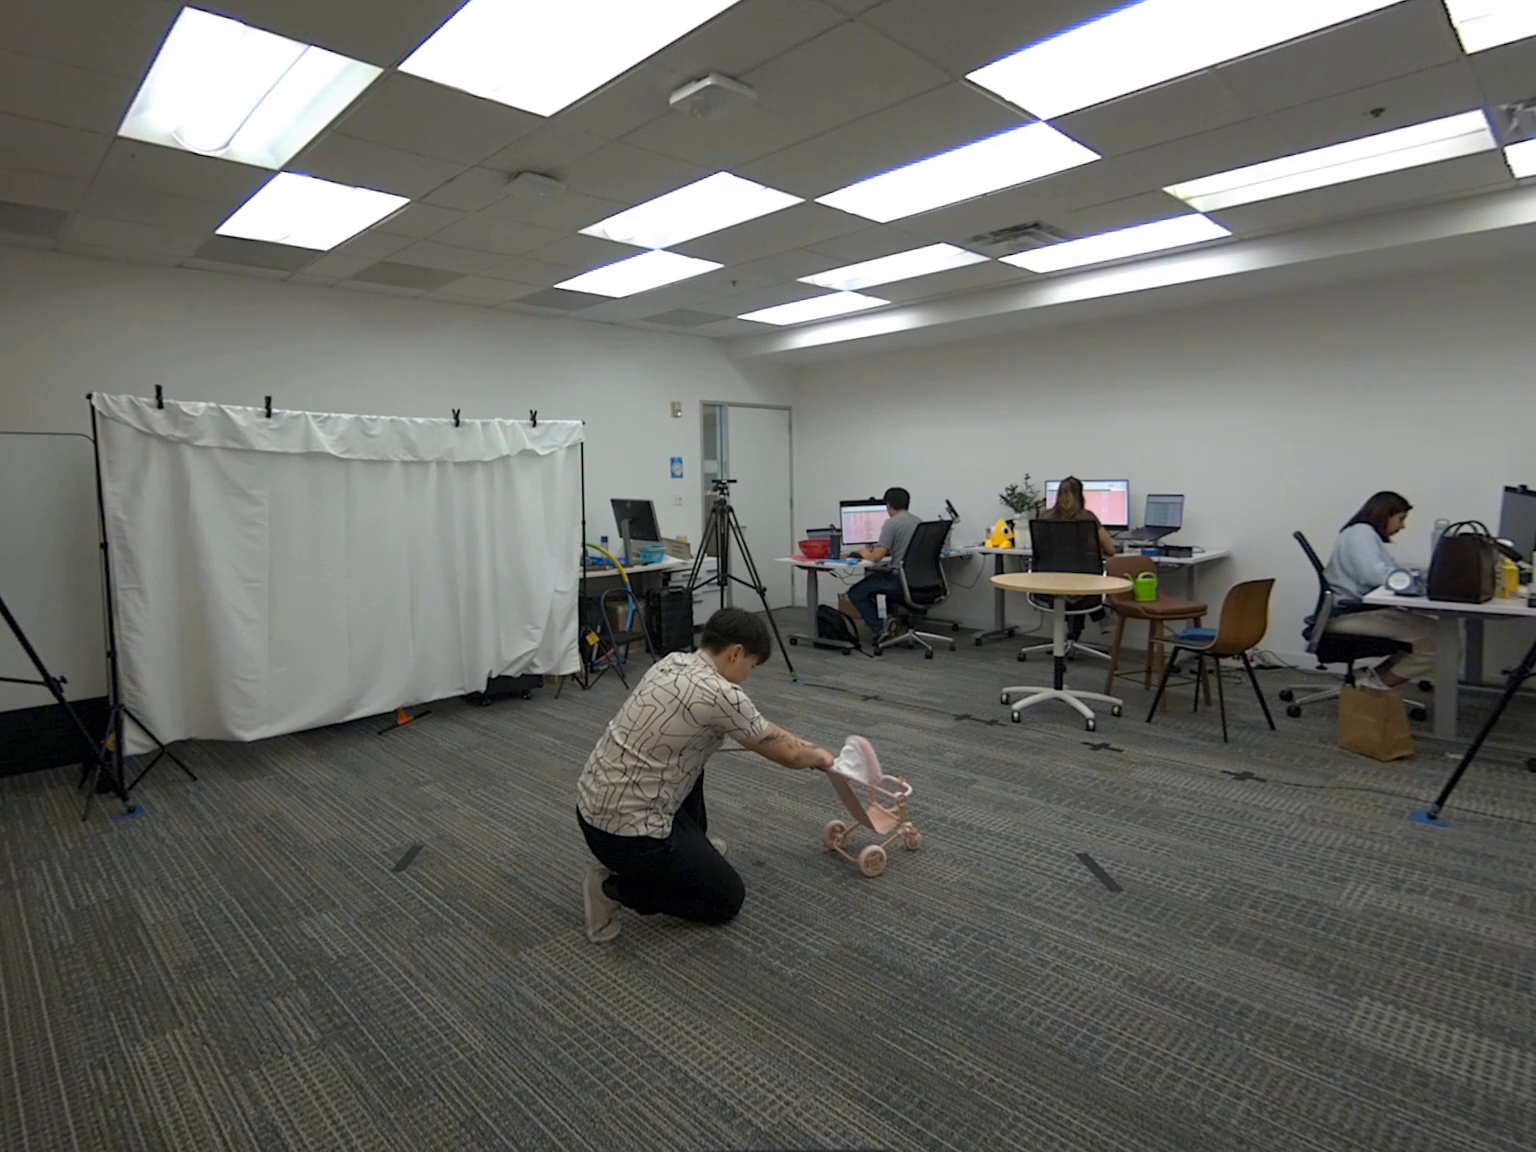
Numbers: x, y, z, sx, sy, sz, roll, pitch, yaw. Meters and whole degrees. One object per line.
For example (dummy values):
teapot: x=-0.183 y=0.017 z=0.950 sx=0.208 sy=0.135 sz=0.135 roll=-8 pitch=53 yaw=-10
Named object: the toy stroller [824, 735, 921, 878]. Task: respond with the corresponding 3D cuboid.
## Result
toy stroller: x=0.362 y=0.814 z=3.120 sx=0.338 sy=0.529 sz=0.287 roll=-21 pitch=11 yaw=-19
